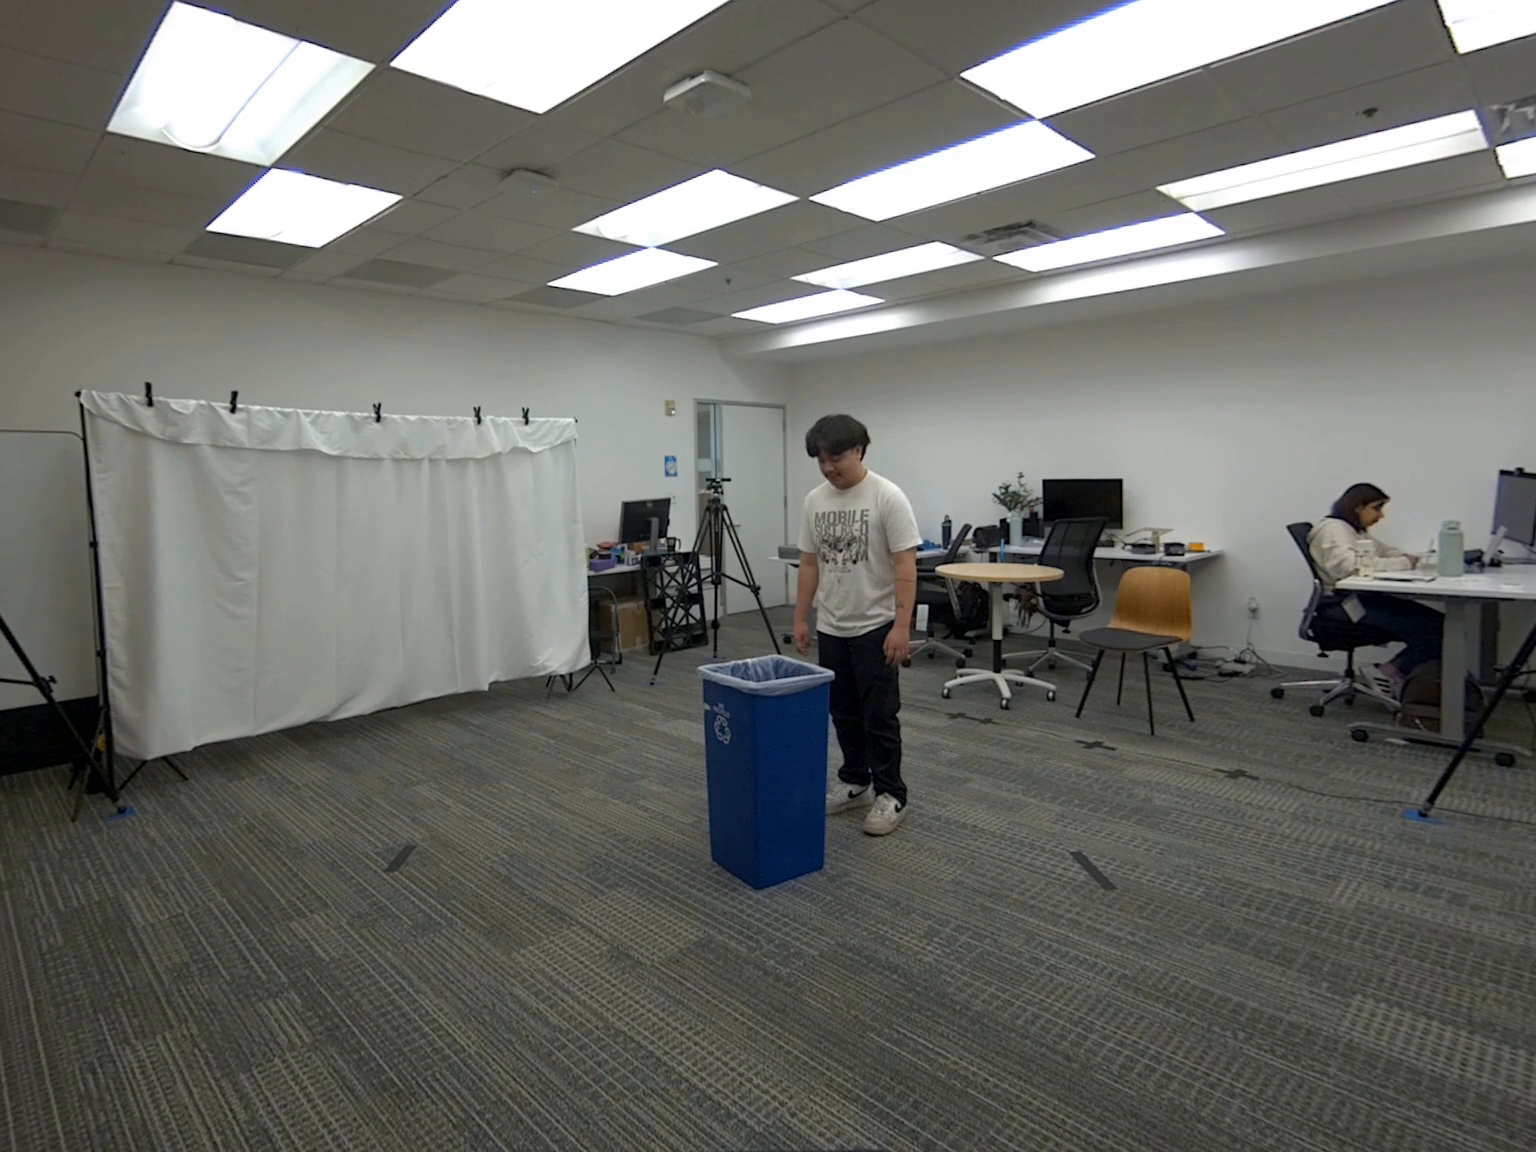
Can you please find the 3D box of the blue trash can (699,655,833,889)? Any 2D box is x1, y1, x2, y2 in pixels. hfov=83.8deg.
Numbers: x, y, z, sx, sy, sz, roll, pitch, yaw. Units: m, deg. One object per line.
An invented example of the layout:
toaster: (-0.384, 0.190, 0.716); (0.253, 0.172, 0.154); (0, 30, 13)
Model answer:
blue trash can: (0.000, 0.687, 3.069); (0.368, 0.711, 0.385); (-4, 5, -35)
